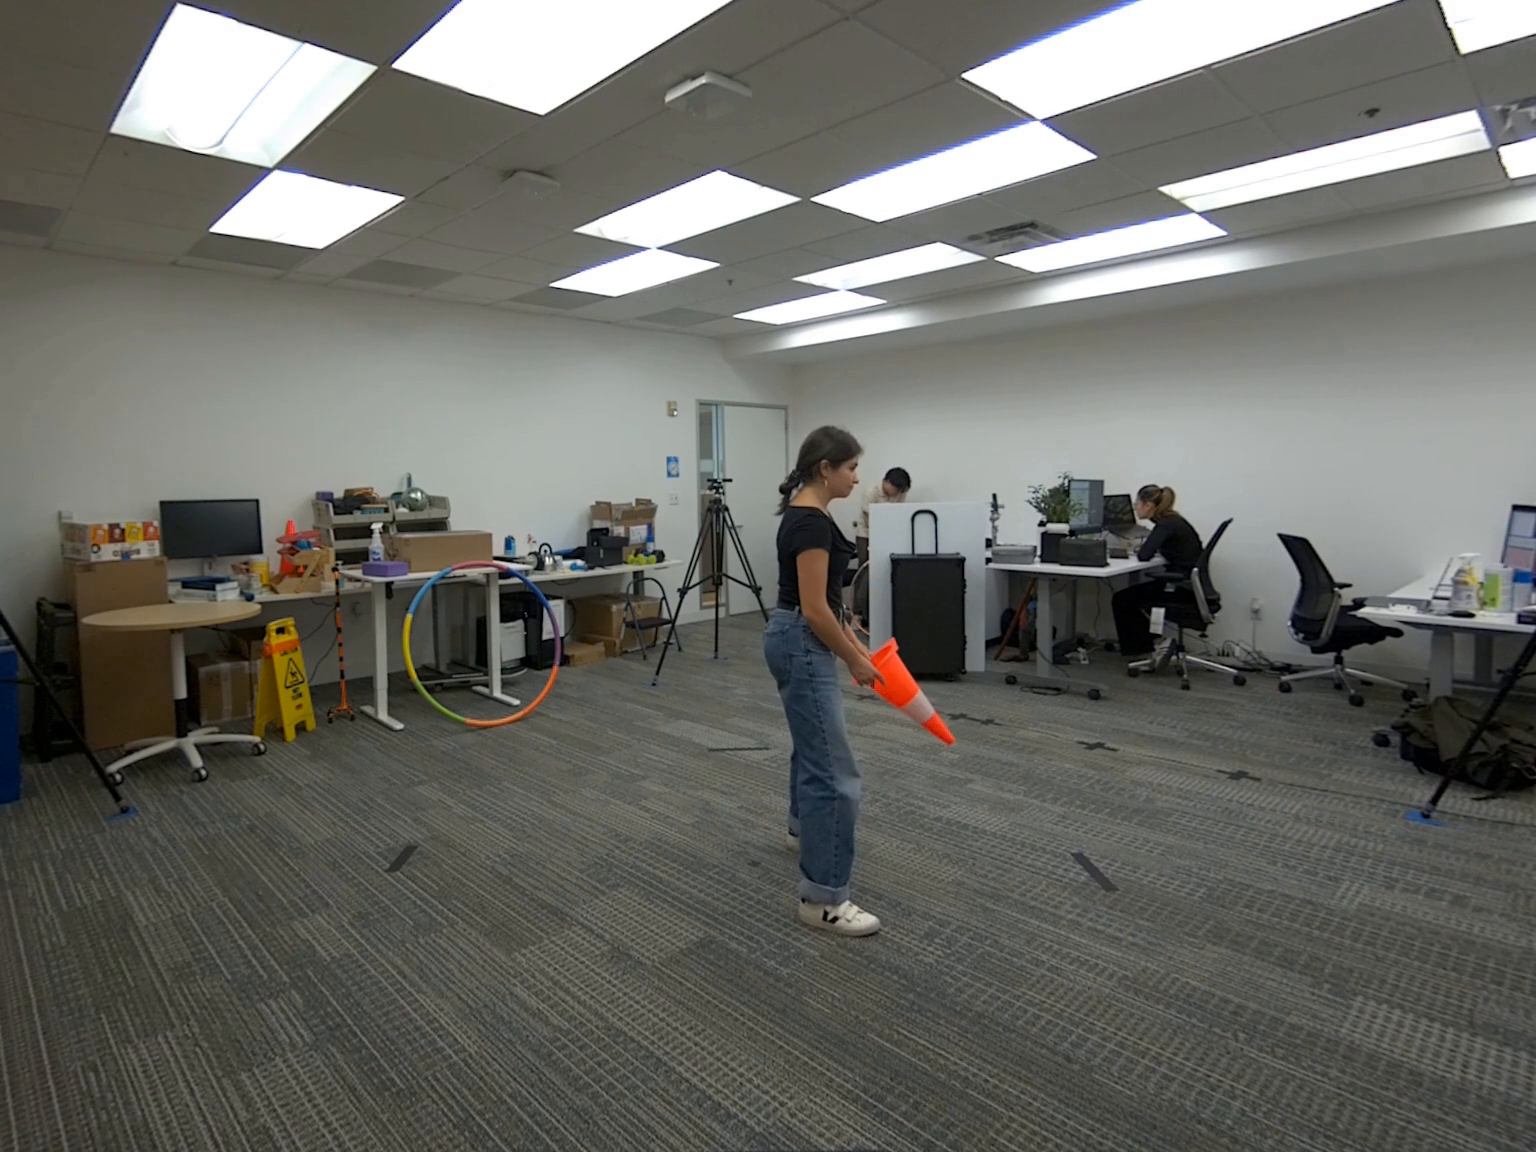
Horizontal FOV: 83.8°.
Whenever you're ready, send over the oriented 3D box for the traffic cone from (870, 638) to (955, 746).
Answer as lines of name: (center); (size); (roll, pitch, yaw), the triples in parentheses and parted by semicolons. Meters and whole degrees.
traffic cone: (0.495, 0.427, 2.900); (0.205, 0.383, 0.204); (-45, 2, 7)
